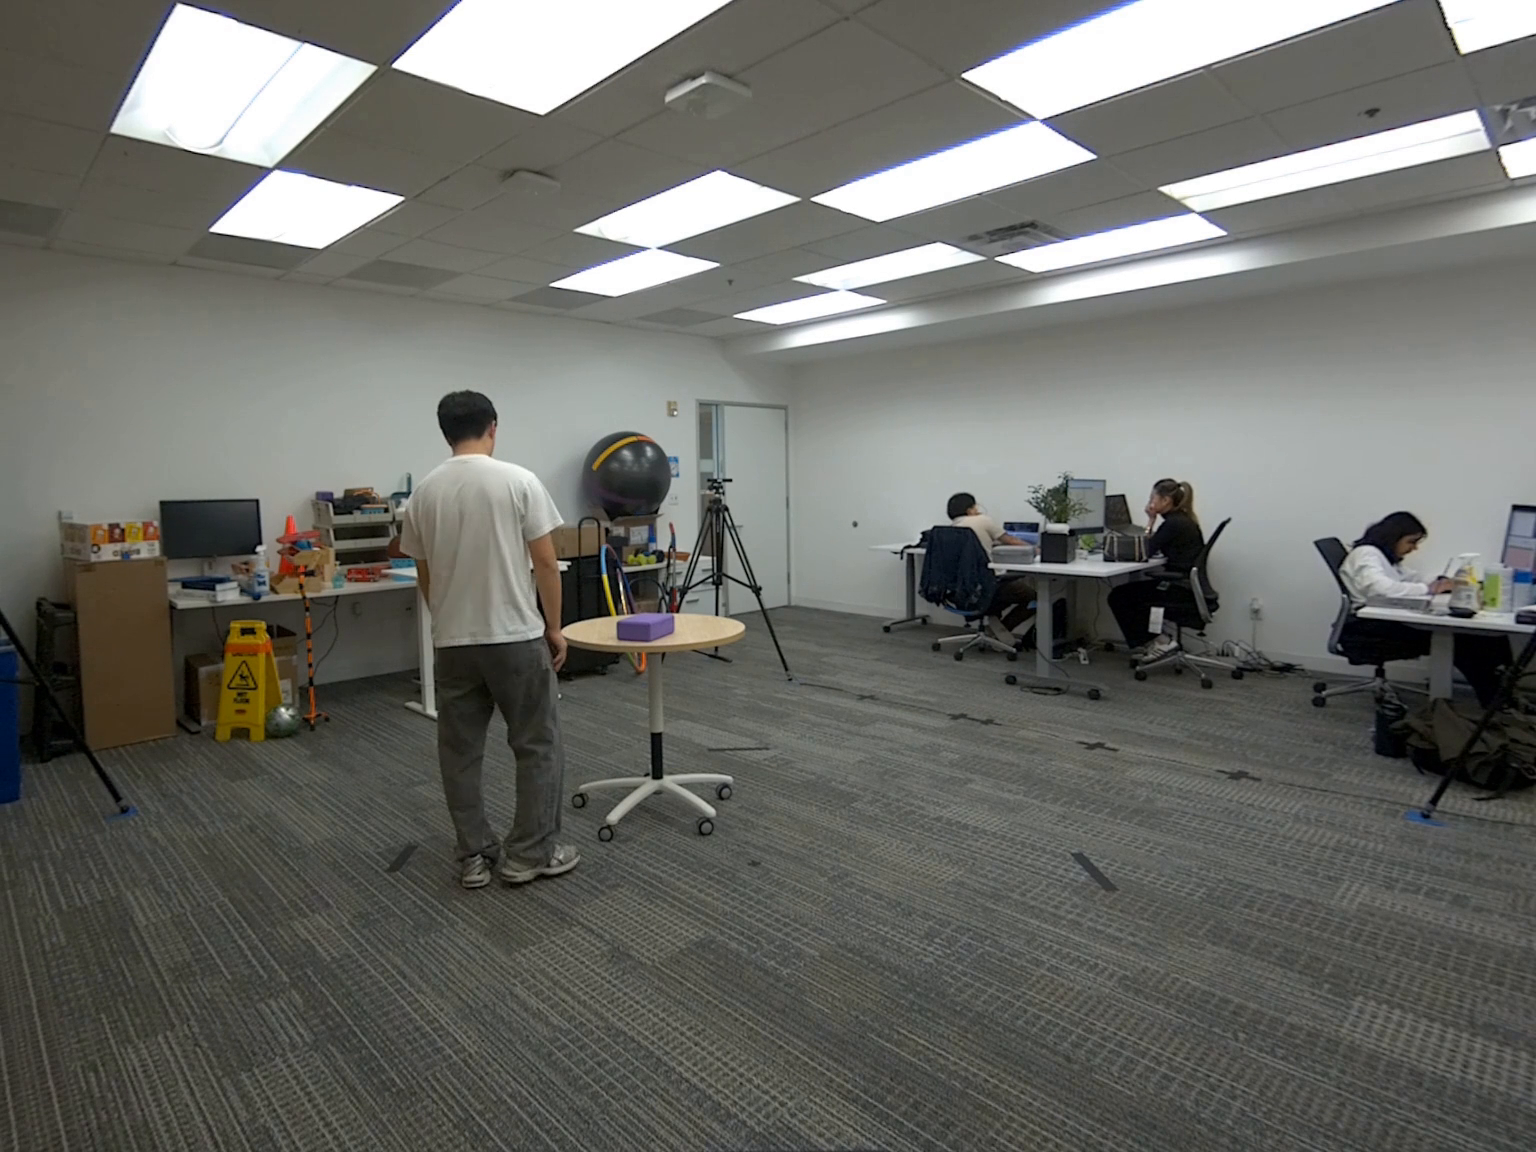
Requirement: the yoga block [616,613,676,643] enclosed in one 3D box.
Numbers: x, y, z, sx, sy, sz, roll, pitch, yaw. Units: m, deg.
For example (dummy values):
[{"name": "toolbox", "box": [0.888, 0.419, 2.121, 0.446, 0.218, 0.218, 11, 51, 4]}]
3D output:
[{"name": "yoga block", "box": [-0.482, 0.200, 3.393, 0.152, 0.076, 0.226, 1, 6, 19]}]
